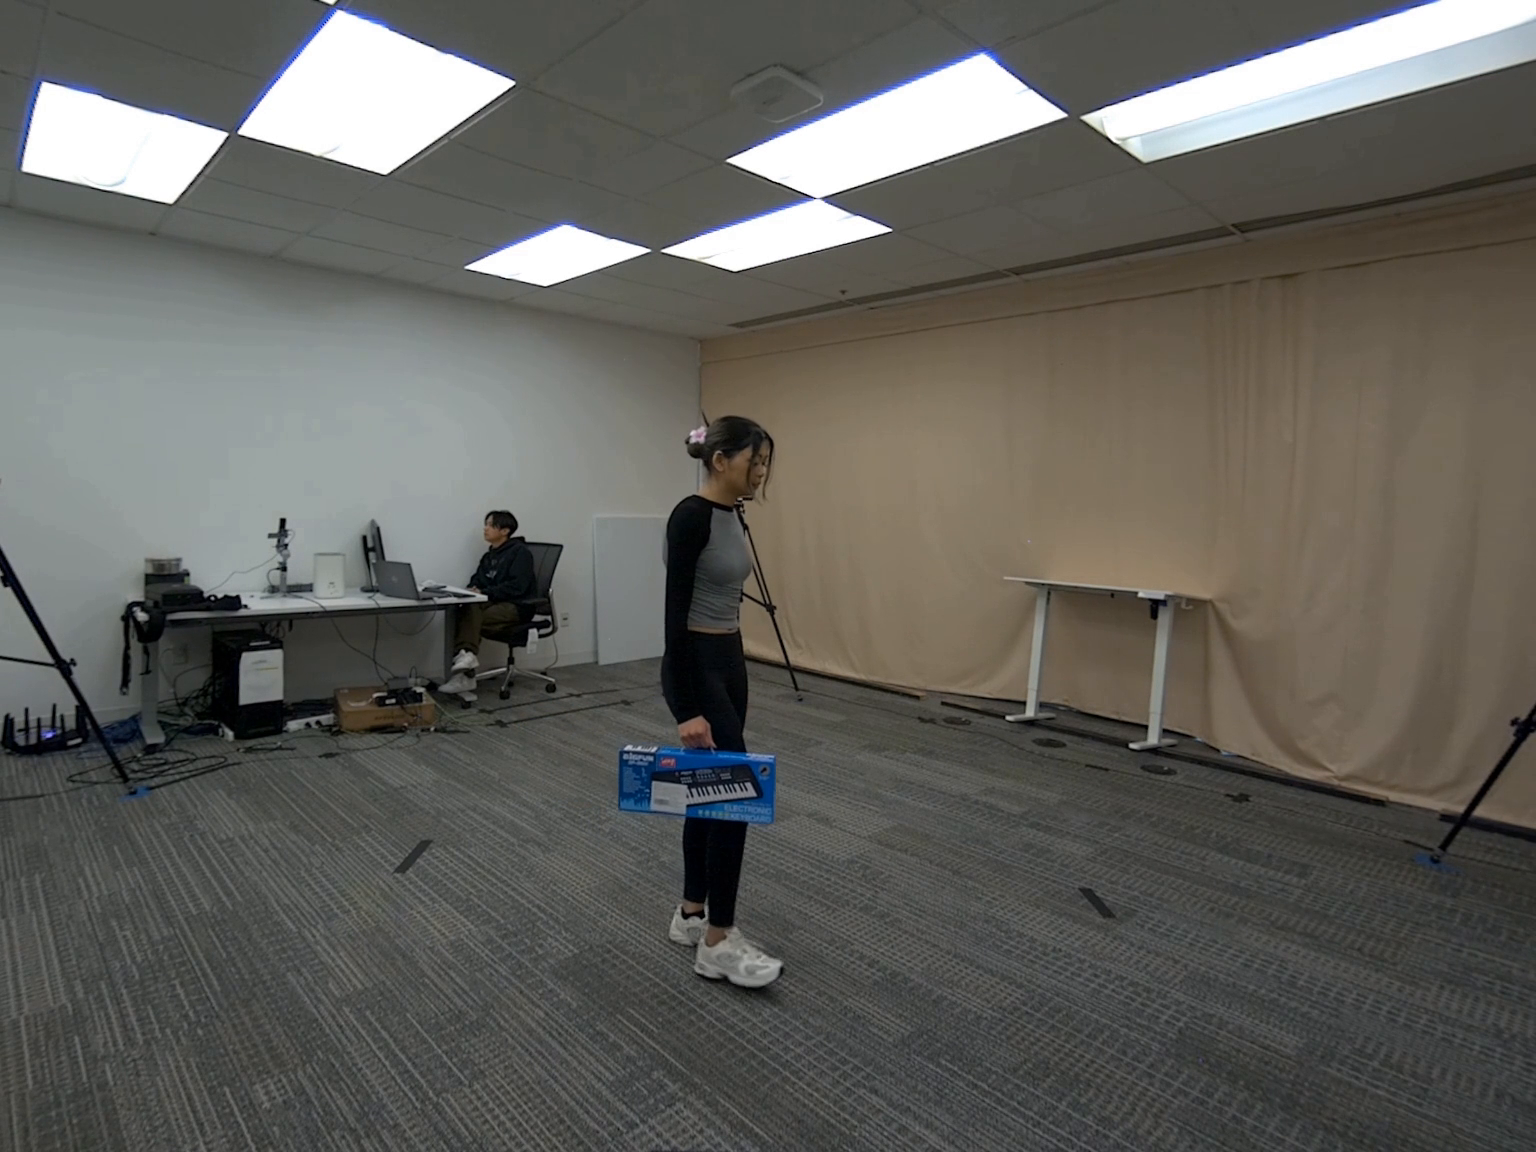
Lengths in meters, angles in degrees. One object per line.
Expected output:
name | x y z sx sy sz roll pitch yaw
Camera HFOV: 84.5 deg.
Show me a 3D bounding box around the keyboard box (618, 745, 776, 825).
keyboard box | -0.208 0.576 2.333 0.441 0.175 0.059 2 3 12
